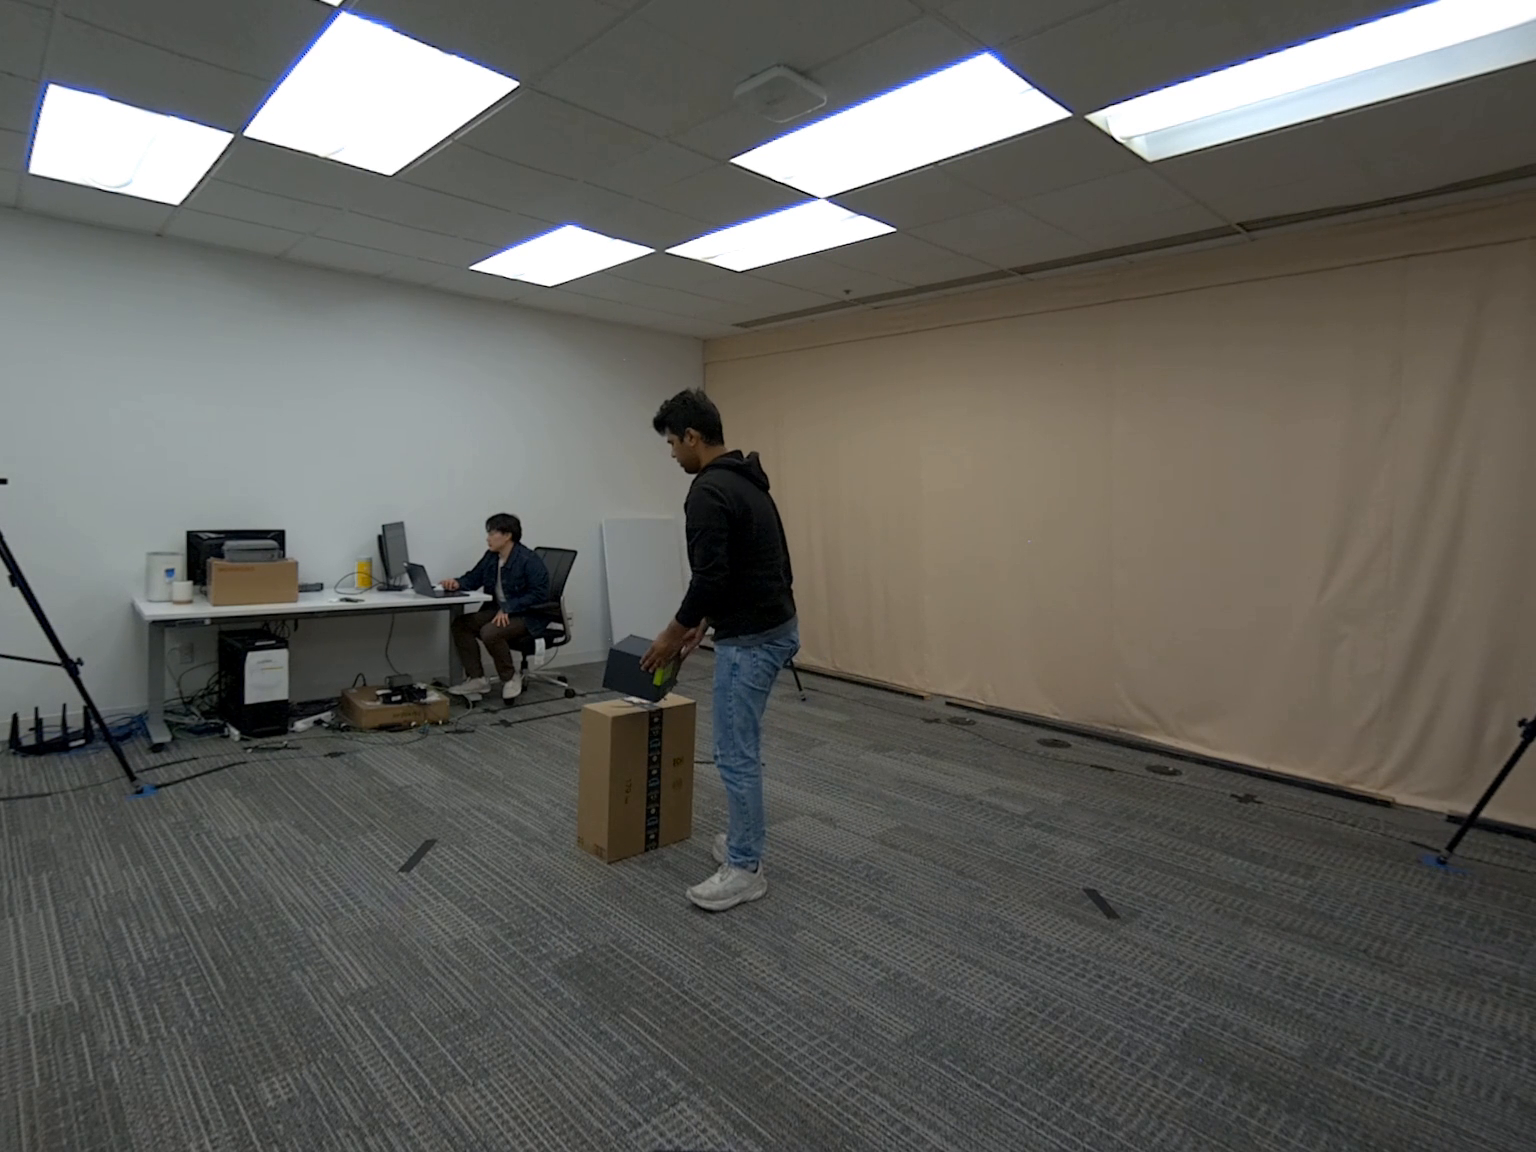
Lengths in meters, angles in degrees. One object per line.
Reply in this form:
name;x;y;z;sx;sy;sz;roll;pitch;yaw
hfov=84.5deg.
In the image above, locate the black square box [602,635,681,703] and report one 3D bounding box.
black square box;-0.468;0.351;3.131;0.219;0.155;0.227;14;10;9
